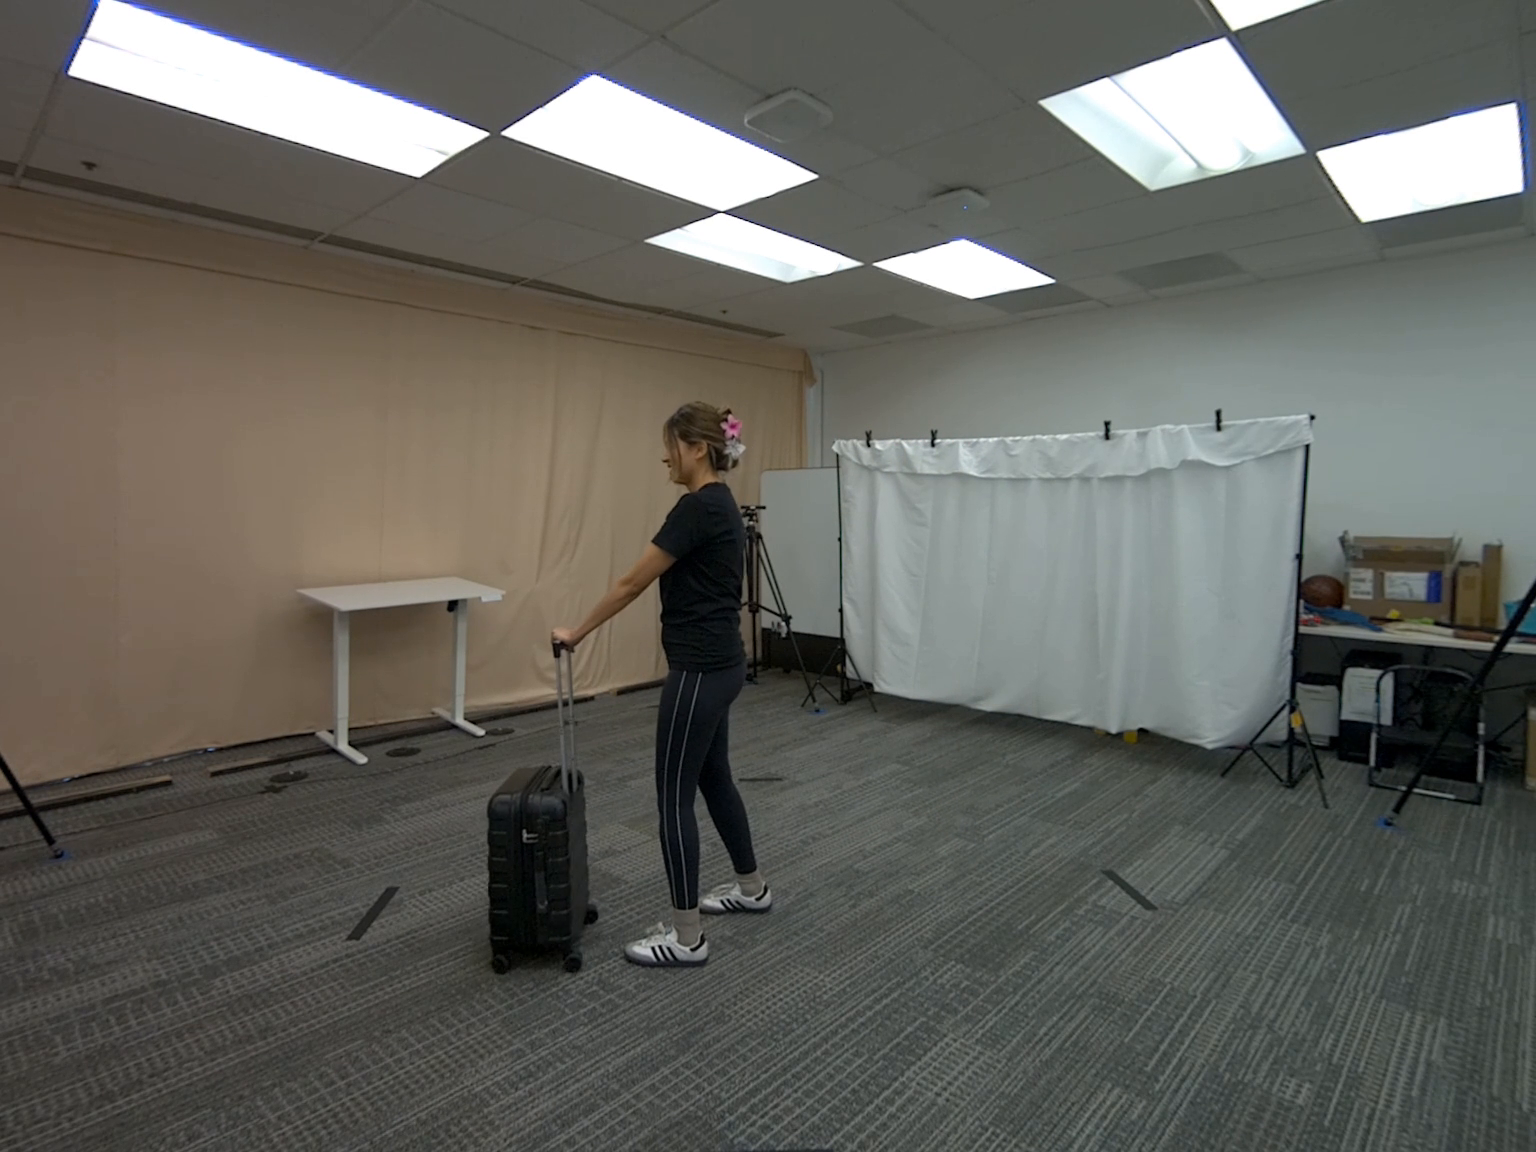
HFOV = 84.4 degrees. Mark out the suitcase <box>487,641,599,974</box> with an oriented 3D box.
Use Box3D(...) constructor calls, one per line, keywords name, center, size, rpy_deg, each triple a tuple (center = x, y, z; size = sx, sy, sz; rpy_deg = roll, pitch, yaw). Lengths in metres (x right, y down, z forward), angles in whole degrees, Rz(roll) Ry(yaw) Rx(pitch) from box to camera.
Box3D(name="suitcase", center=(-0.731, 0.701, 2.662), size=(0.257, 0.977, 0.384), rpy_deg=(-3, 2, 0))
